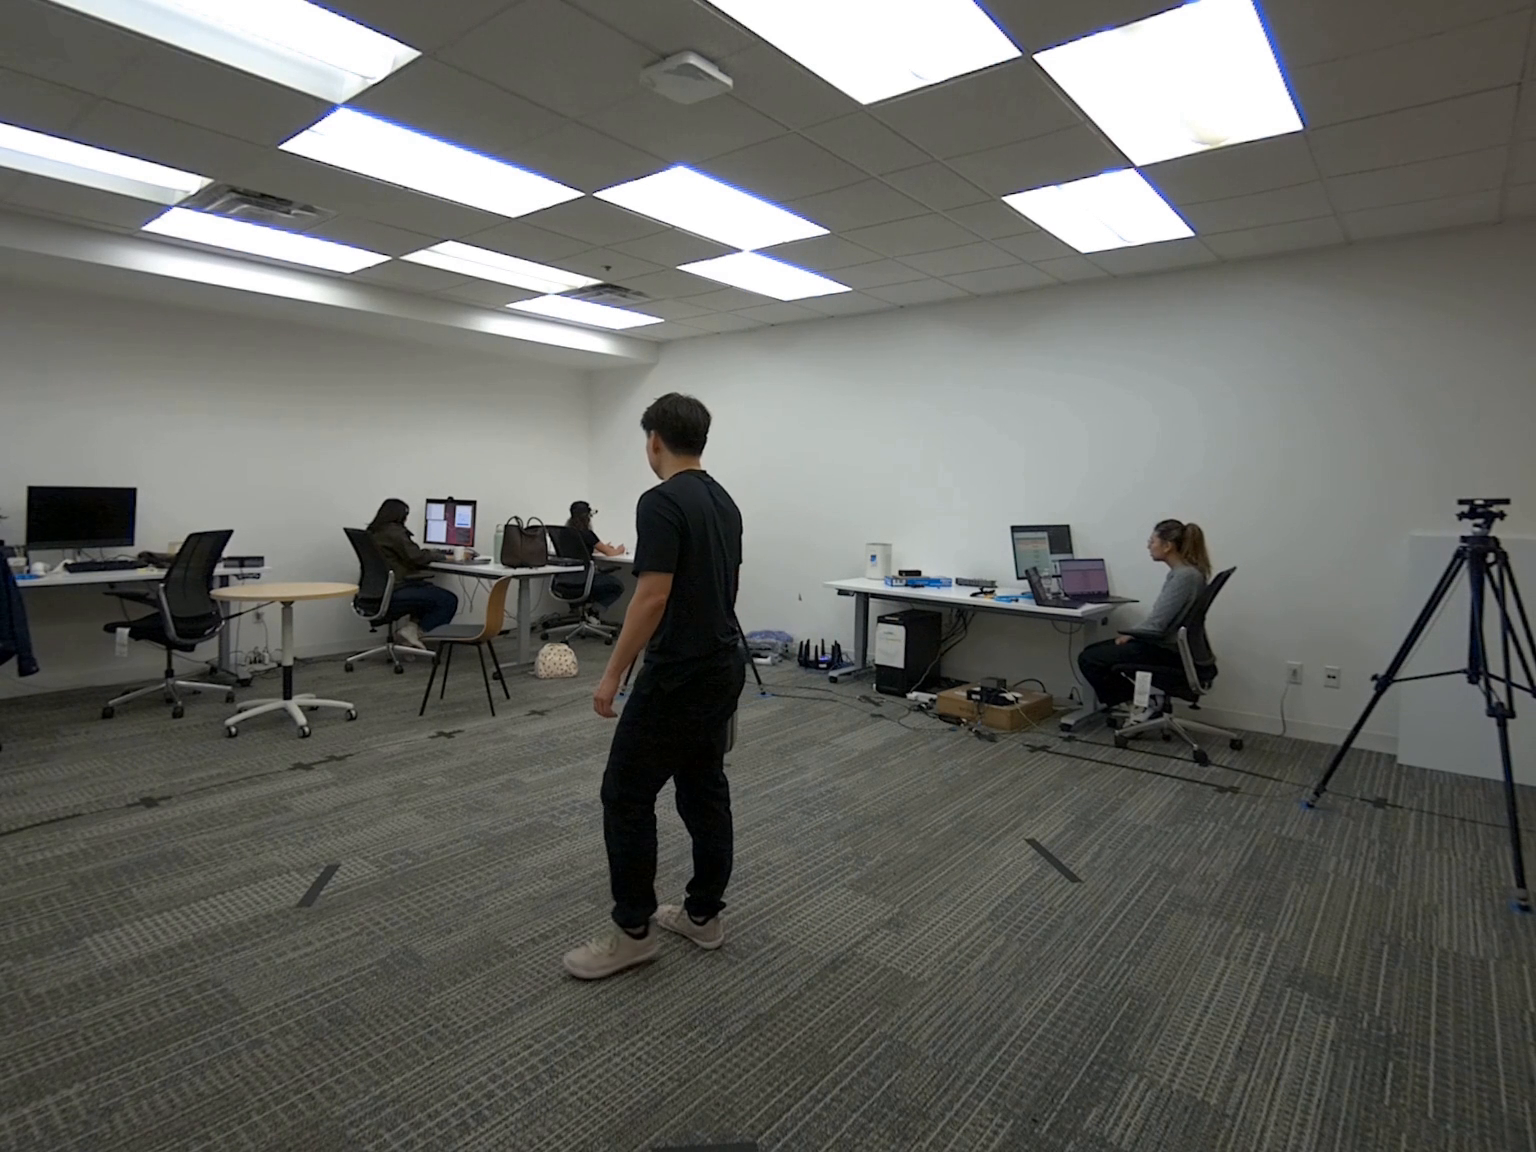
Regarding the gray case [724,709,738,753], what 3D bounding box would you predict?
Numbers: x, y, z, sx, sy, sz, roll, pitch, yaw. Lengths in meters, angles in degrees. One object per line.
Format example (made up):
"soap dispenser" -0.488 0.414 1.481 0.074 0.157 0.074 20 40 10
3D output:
"gray case" -0.238 0.459 2.933 0.263 0.257 0.103 10 17 20
